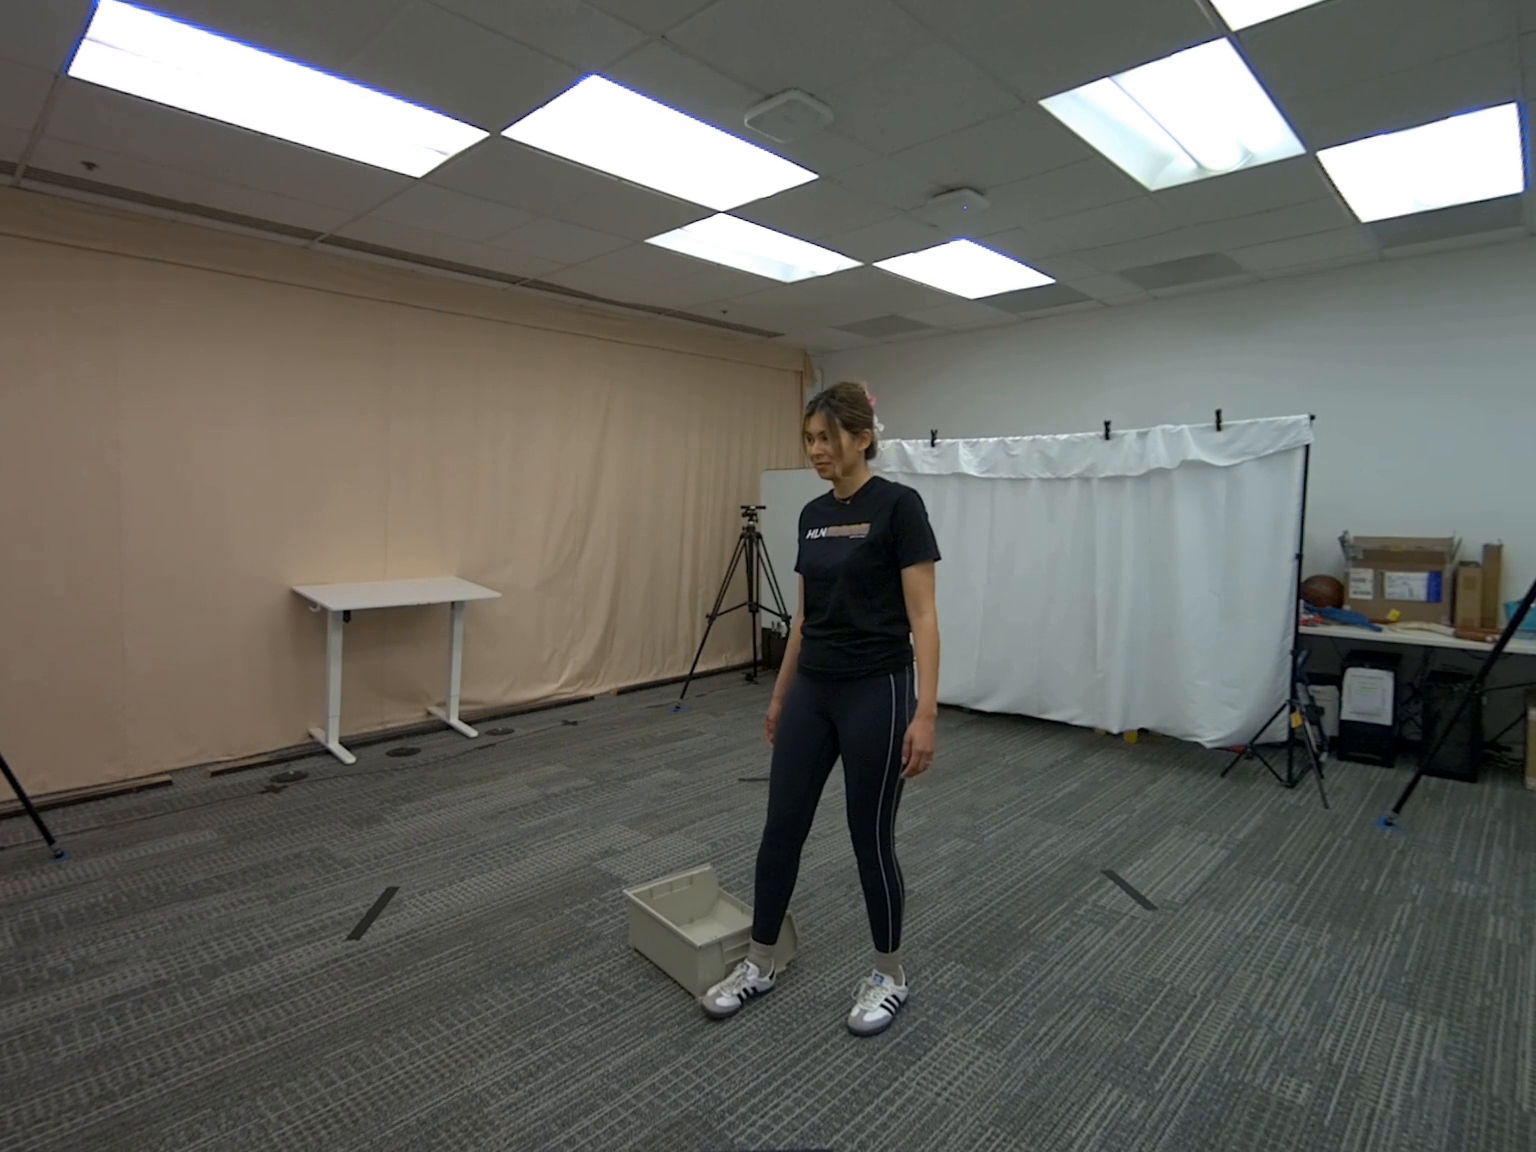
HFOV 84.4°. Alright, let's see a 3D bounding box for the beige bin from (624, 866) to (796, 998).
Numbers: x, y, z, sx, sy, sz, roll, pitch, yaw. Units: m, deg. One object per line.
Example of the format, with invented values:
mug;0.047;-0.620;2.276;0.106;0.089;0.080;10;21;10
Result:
beige bin;-0.177;1.088;2.601;0.366;0.188;0.436;-5;7;-38
